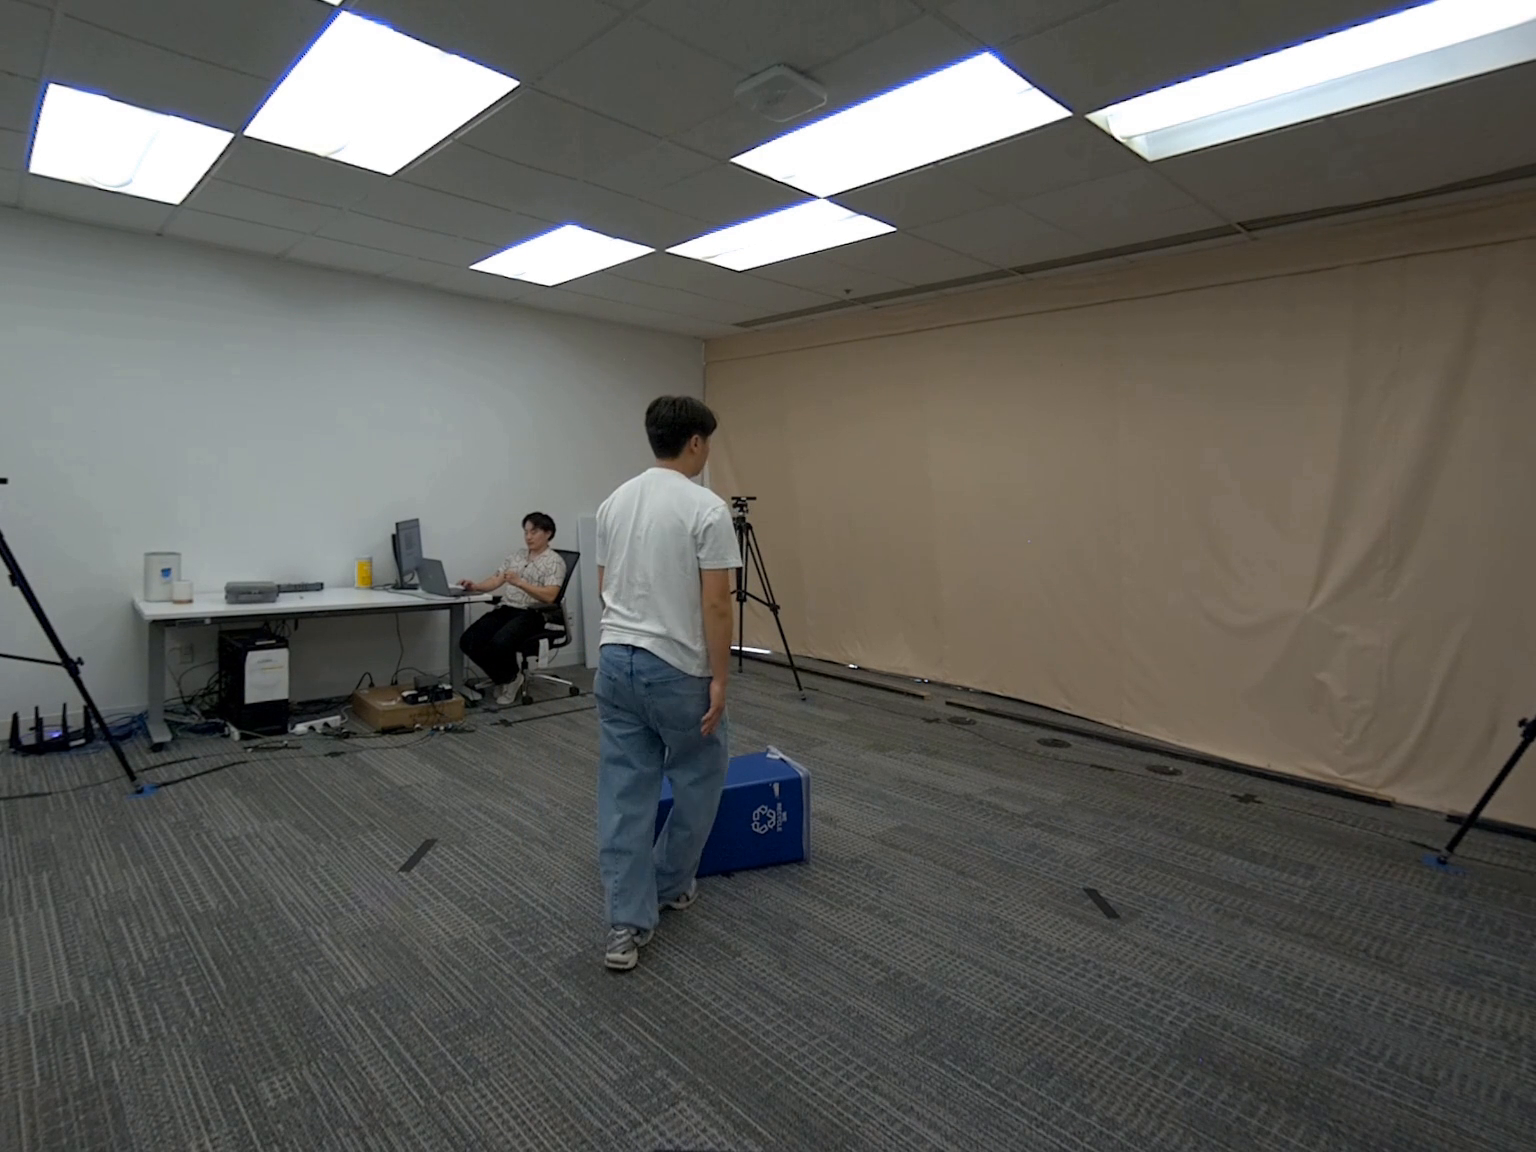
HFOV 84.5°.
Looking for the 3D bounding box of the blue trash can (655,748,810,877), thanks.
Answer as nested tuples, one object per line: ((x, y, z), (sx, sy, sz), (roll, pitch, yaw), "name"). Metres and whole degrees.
((-0.239, 0.928, 3.239), (0.702, 0.372, 0.385), (-4, 6, -22), "blue trash can")
